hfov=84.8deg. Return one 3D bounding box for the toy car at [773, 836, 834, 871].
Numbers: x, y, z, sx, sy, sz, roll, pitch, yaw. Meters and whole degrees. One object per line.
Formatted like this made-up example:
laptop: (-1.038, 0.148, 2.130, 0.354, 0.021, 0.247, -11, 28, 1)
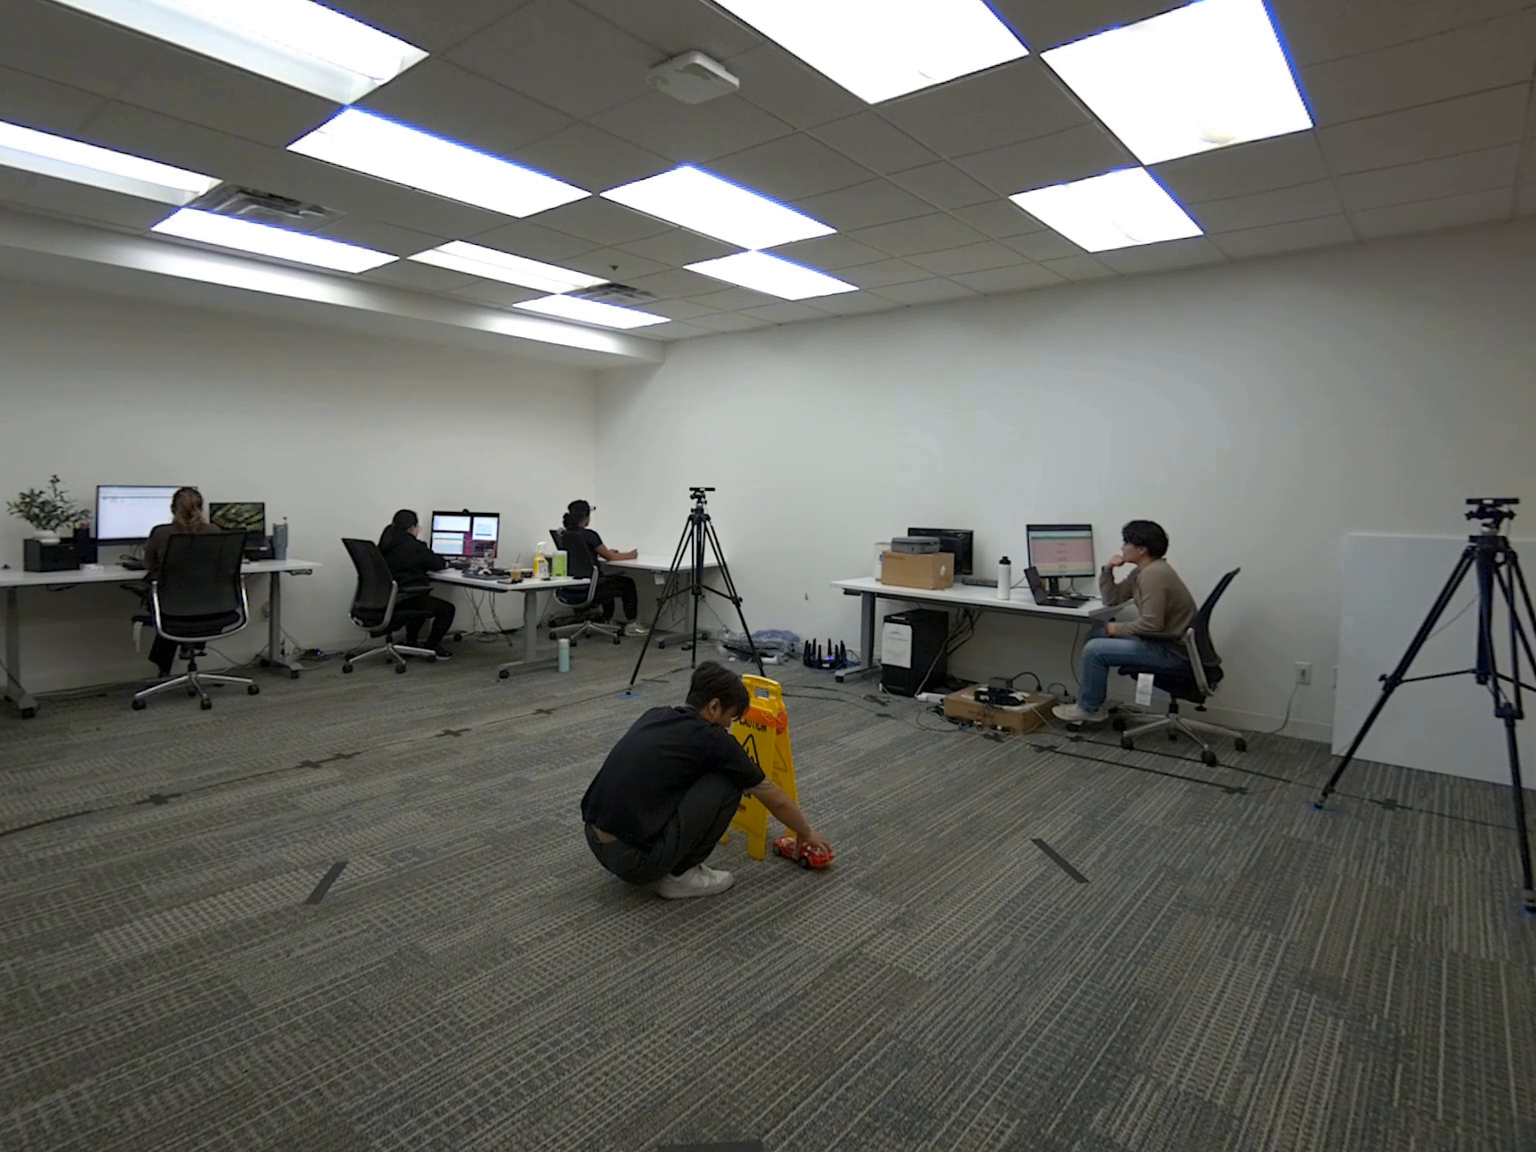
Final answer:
toy car: (0.124, 1.043, 3.197, 0.126, 0.083, 0.261, -5, -1, -42)
